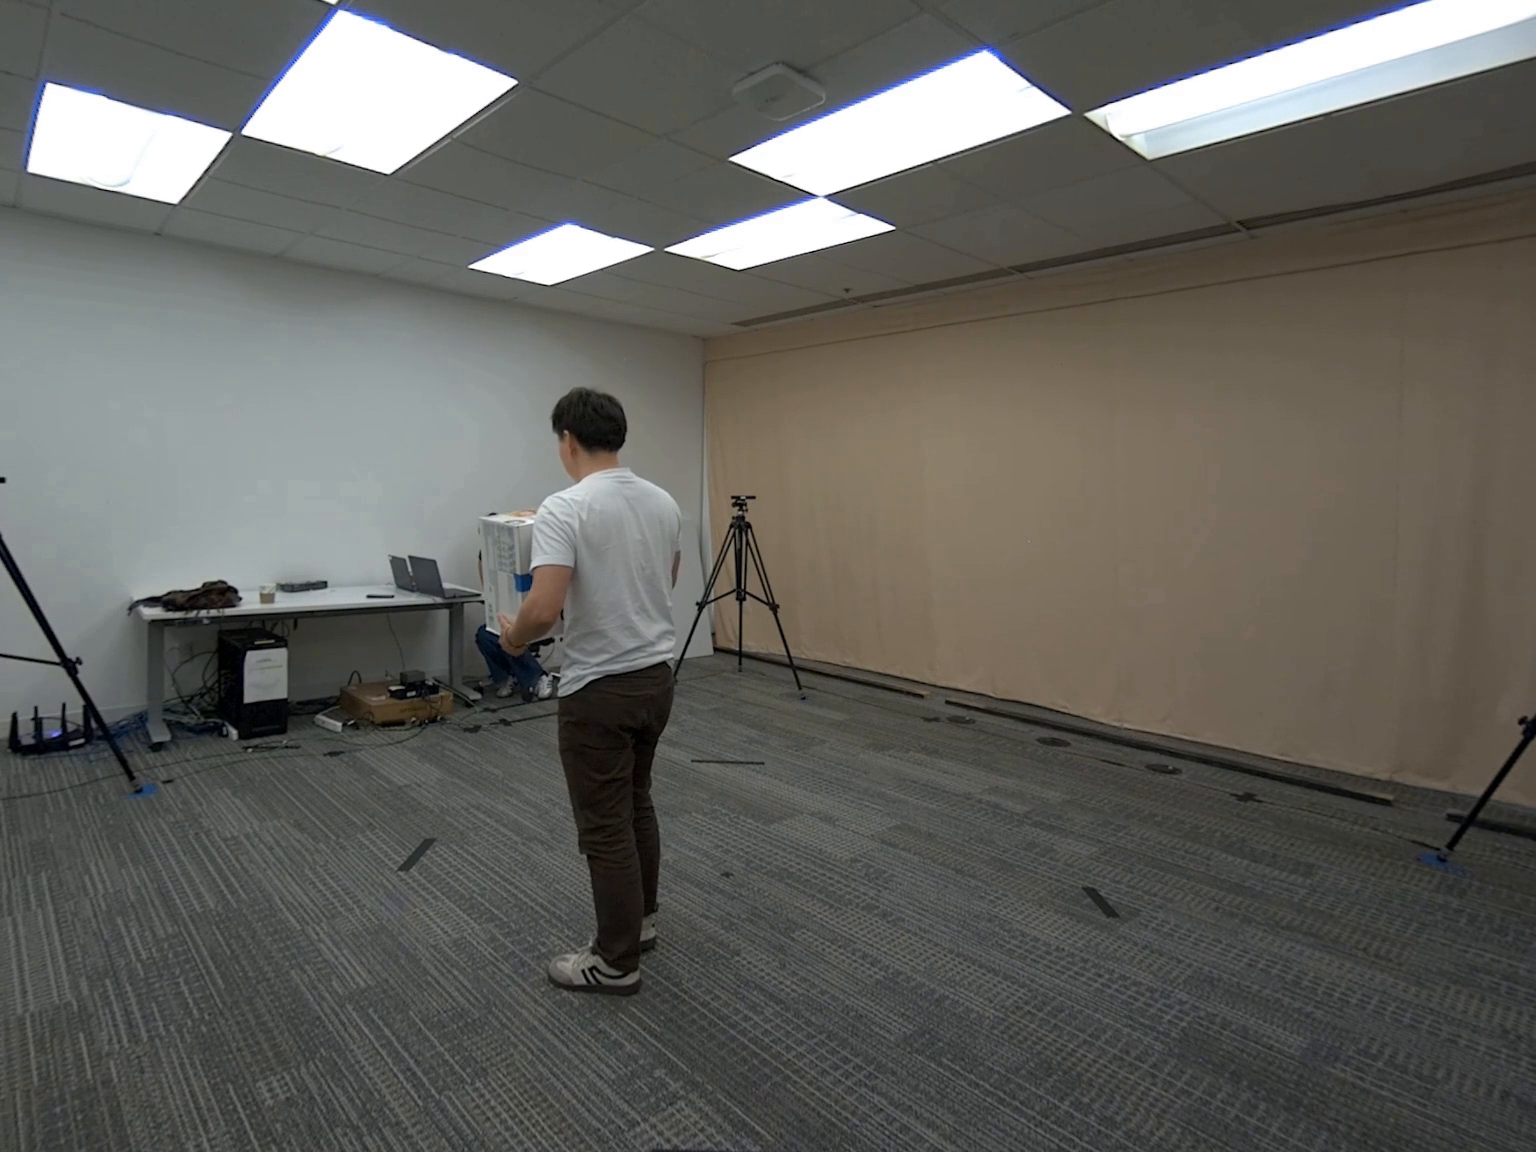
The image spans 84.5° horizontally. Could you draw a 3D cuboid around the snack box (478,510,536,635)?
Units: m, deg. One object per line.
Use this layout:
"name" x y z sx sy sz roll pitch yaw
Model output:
"snack box" -0.618 -0.024 2.509 0.211 0.337 0.398 11 17 41
